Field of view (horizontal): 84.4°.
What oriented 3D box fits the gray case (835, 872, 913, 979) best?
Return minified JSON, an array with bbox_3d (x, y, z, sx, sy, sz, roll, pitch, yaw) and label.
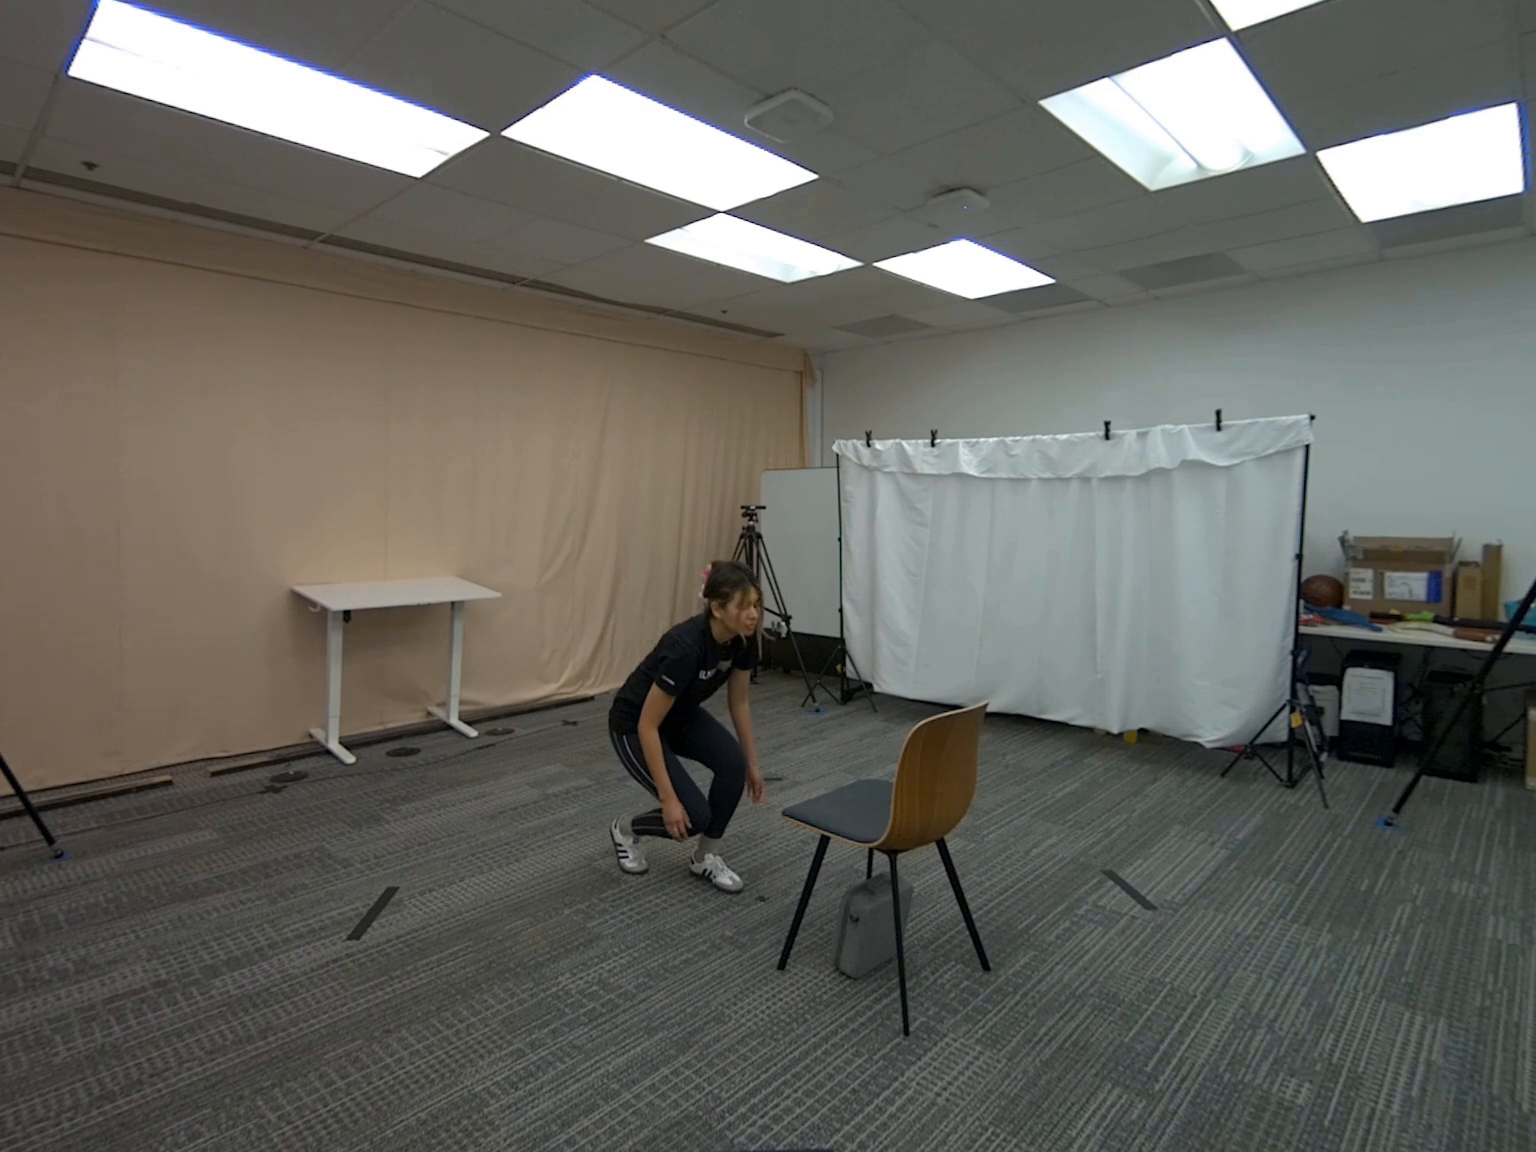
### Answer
[{"bbox_3d":[0.324,1.051,2.550,0.249,0.259,0.108,-4,15,-42],"label":"gray case"}]
